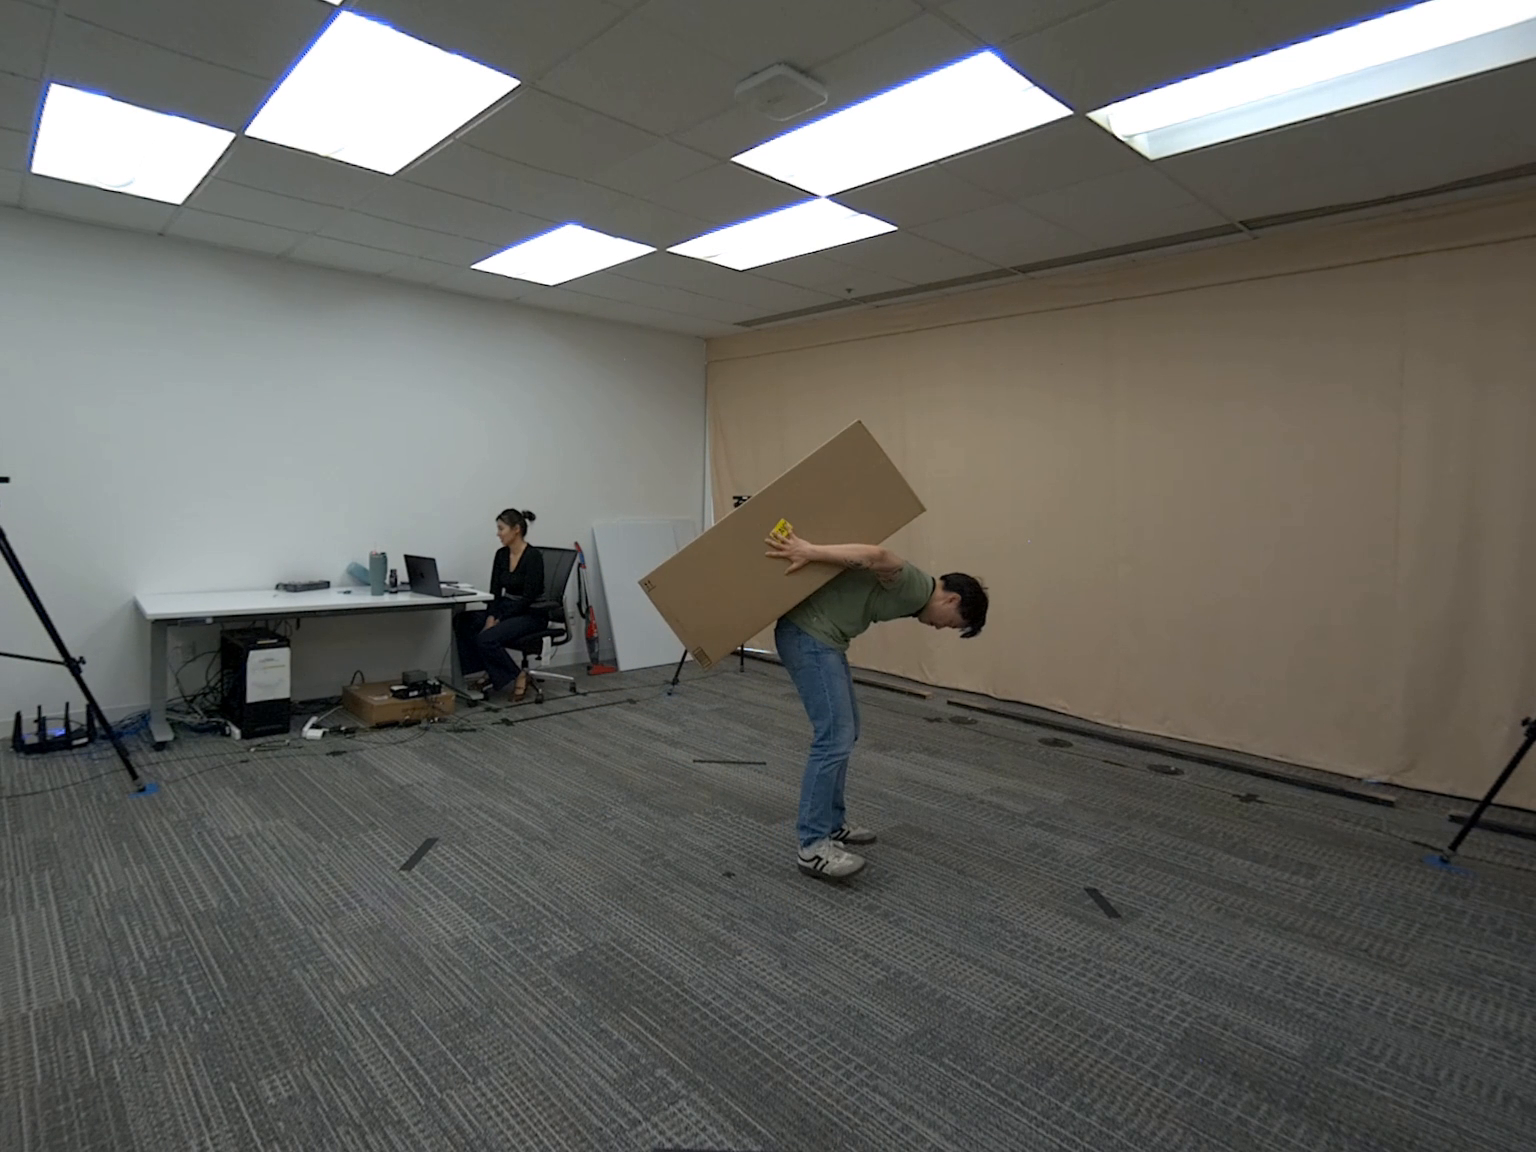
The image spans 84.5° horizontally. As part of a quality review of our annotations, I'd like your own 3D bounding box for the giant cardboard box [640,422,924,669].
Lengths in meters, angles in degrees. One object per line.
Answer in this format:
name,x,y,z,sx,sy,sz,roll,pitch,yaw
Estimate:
giant cardboard box,0.042,-0.119,3.382,1.026,0.427,0.576,-36,-1,1
